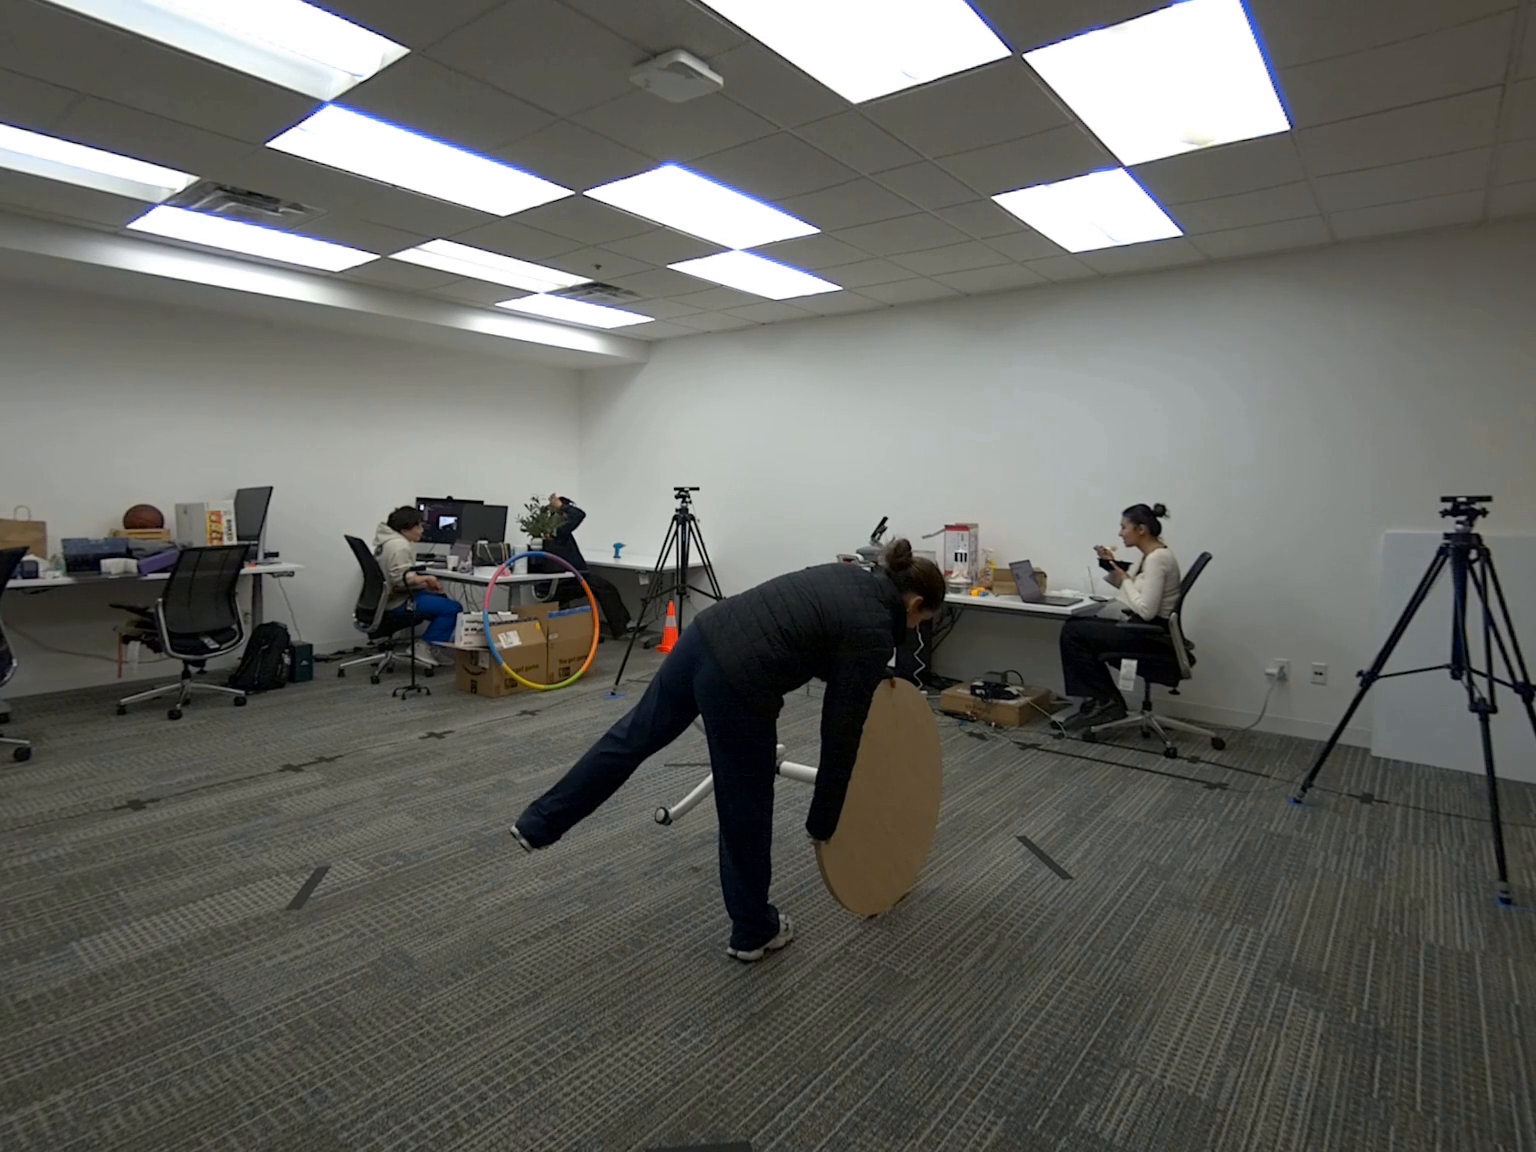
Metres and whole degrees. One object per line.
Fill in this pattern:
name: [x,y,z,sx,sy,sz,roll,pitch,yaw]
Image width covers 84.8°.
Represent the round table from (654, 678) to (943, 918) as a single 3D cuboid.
round table: [0.107,0.702,3.113,0.812,0.783,0.762,2,4,41]
